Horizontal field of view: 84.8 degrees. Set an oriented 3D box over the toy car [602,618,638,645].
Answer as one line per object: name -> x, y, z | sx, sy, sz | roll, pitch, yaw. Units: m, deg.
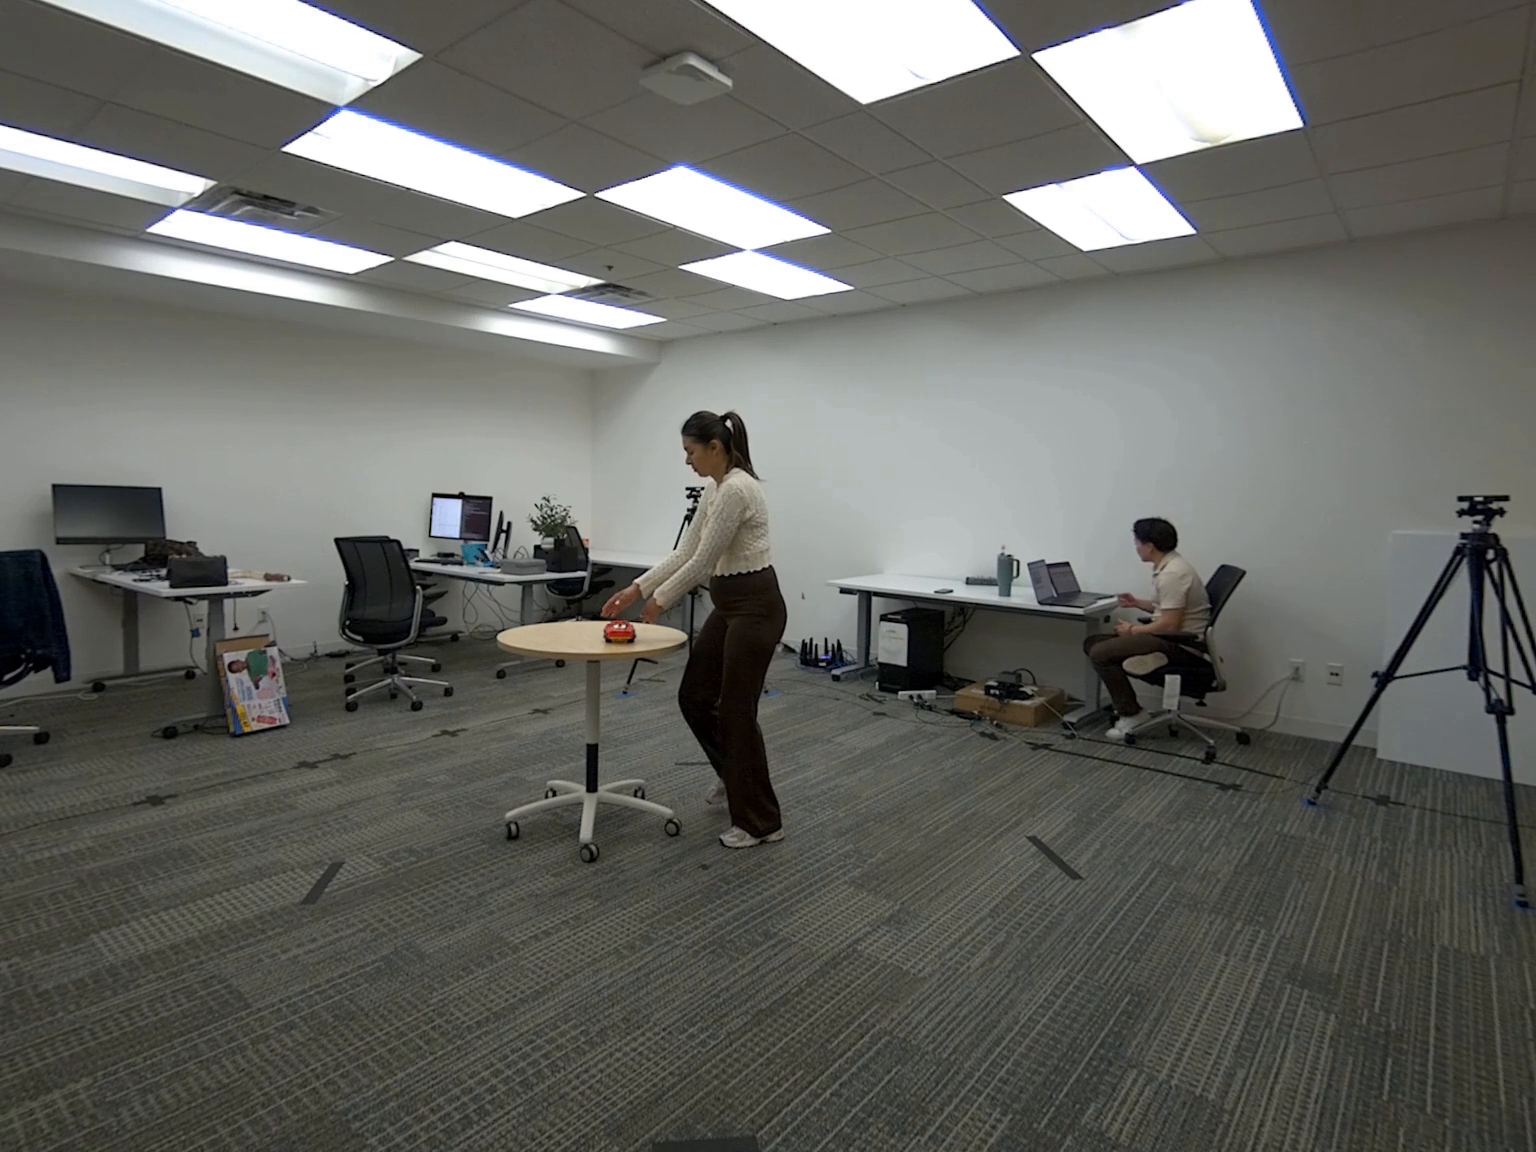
toy car -> -0.603, 0.217, 3.383 | 0.129, 0.084, 0.255 | 1, -6, -10
